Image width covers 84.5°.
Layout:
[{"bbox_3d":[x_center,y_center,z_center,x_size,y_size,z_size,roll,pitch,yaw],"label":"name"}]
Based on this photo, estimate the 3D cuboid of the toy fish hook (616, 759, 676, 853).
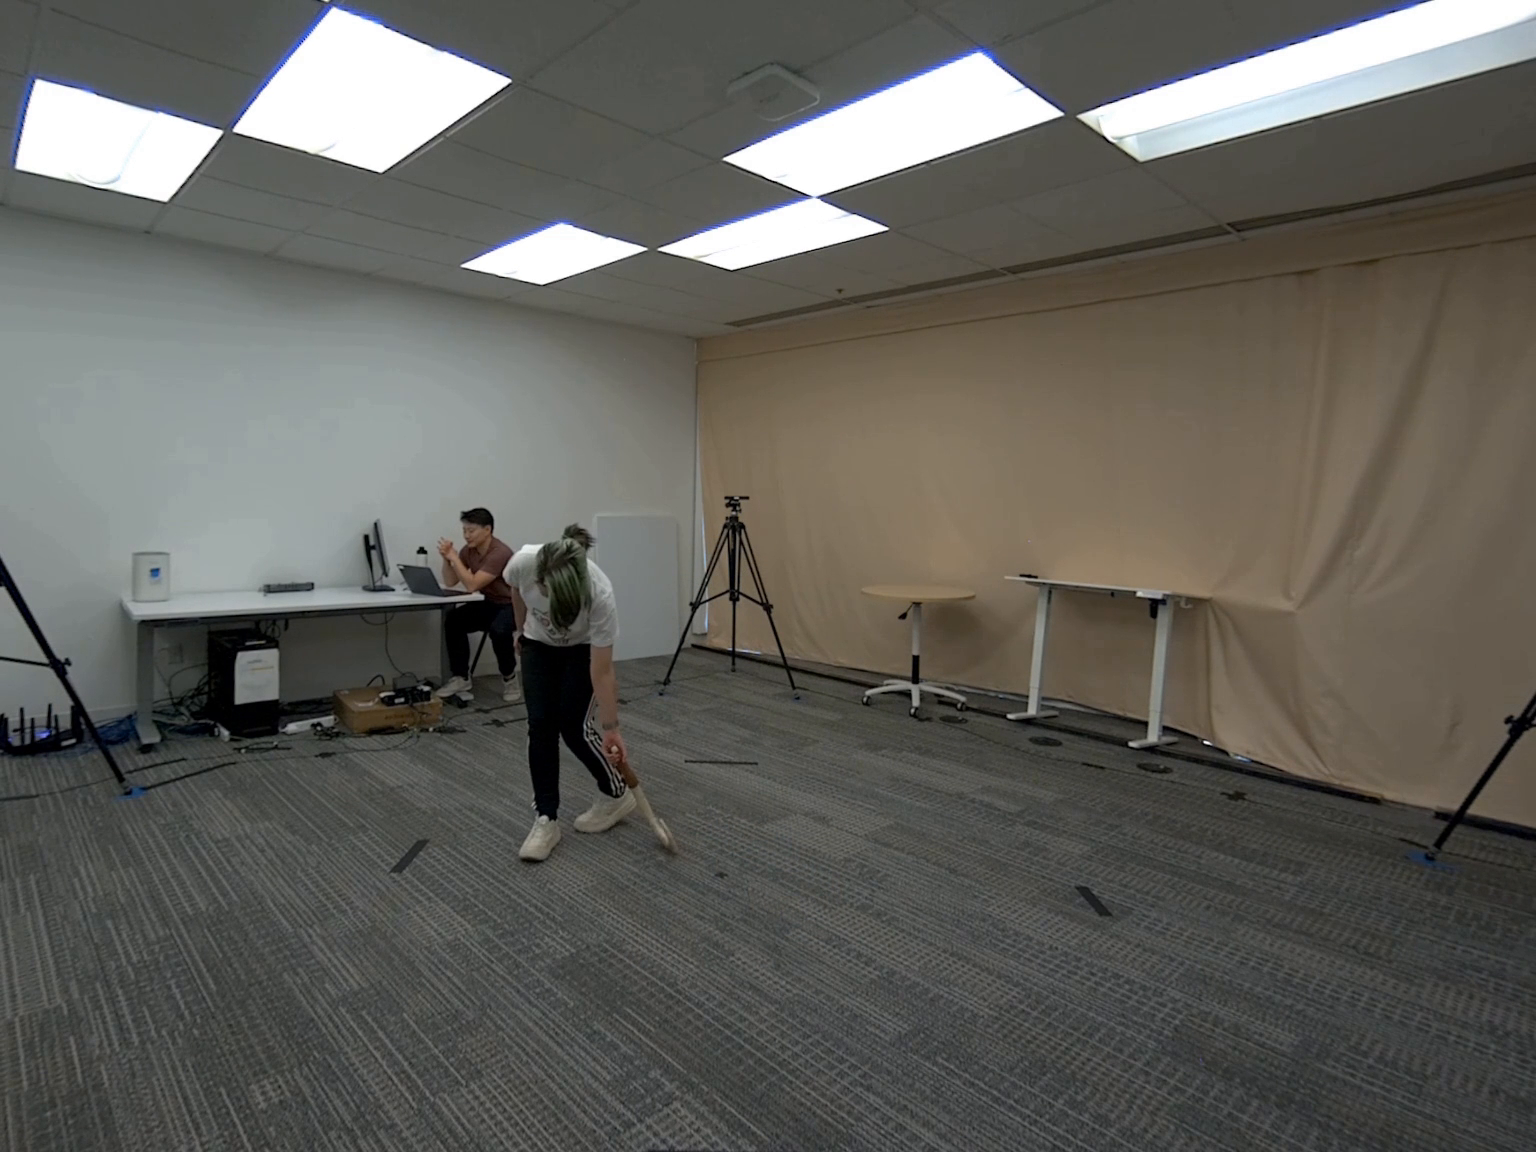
[{"bbox_3d":[-0.480,0.861,3.229,0.048,0.497,0.230,-35,23,-26],"label":"toy fish hook"}]
